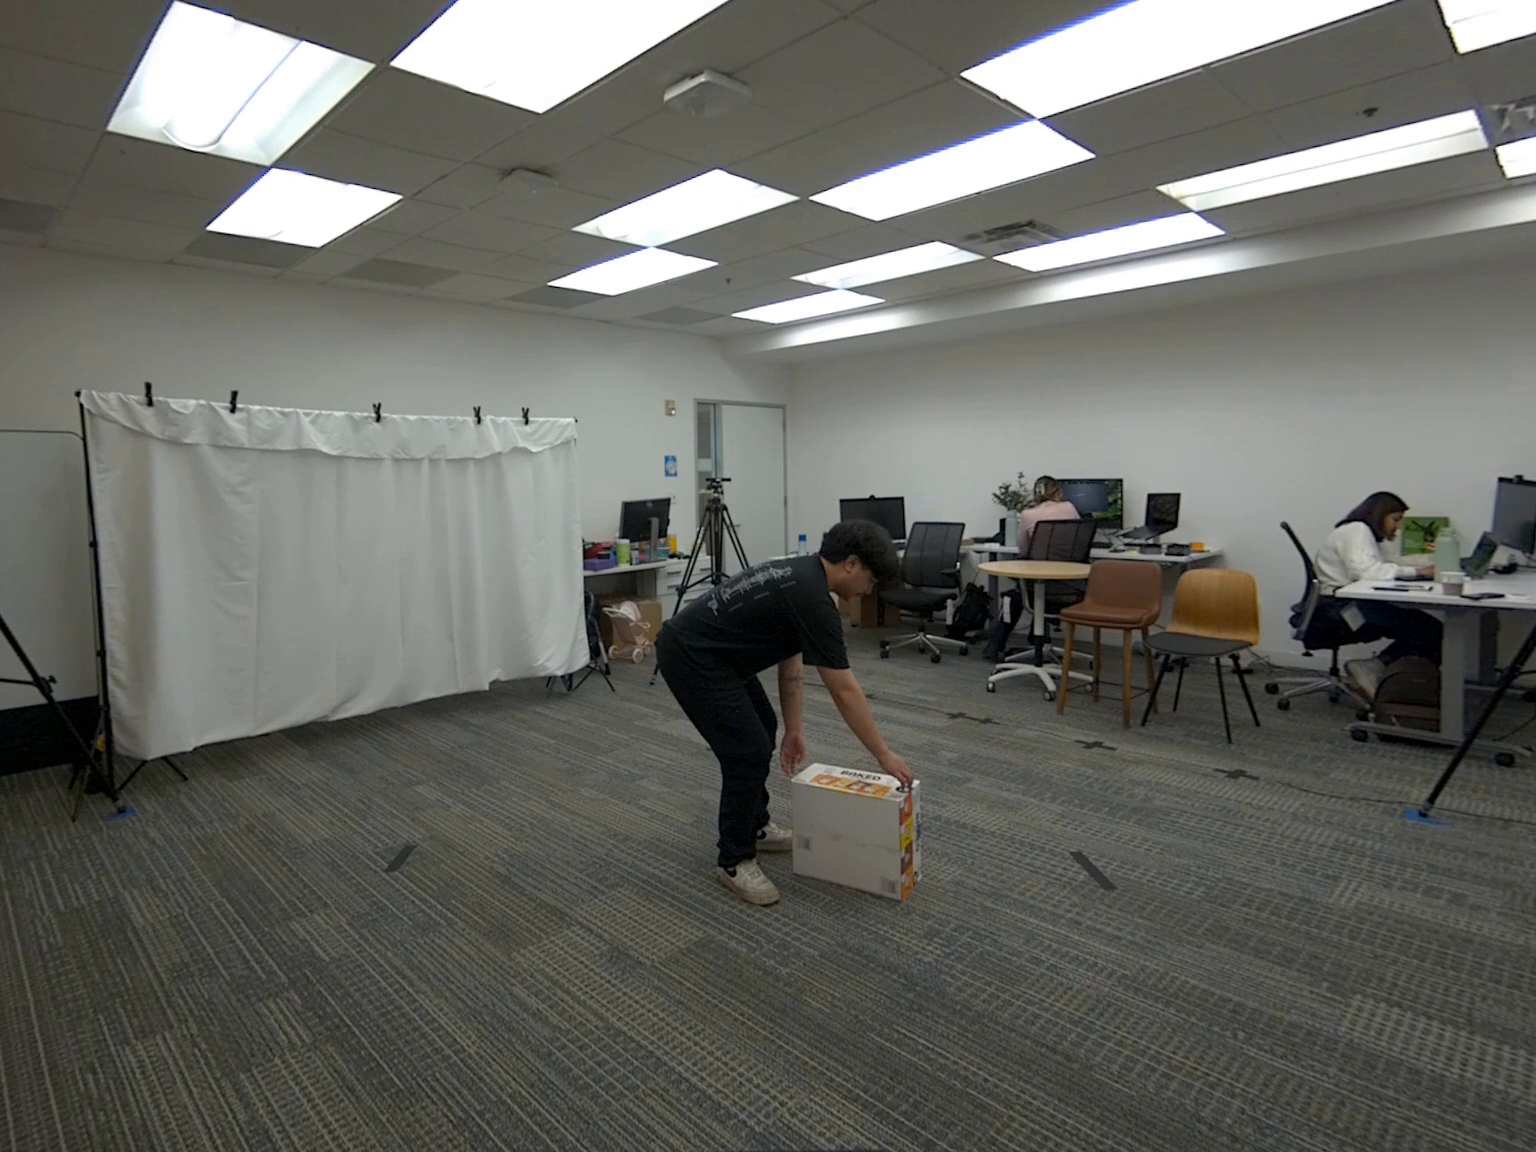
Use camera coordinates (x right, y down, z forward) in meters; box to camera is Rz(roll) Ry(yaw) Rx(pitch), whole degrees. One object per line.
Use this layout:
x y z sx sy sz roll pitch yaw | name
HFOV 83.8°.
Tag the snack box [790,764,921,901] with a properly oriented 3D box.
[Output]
0.309 0.879 2.982 0.416 0.339 0.201 2 5 30 | snack box
